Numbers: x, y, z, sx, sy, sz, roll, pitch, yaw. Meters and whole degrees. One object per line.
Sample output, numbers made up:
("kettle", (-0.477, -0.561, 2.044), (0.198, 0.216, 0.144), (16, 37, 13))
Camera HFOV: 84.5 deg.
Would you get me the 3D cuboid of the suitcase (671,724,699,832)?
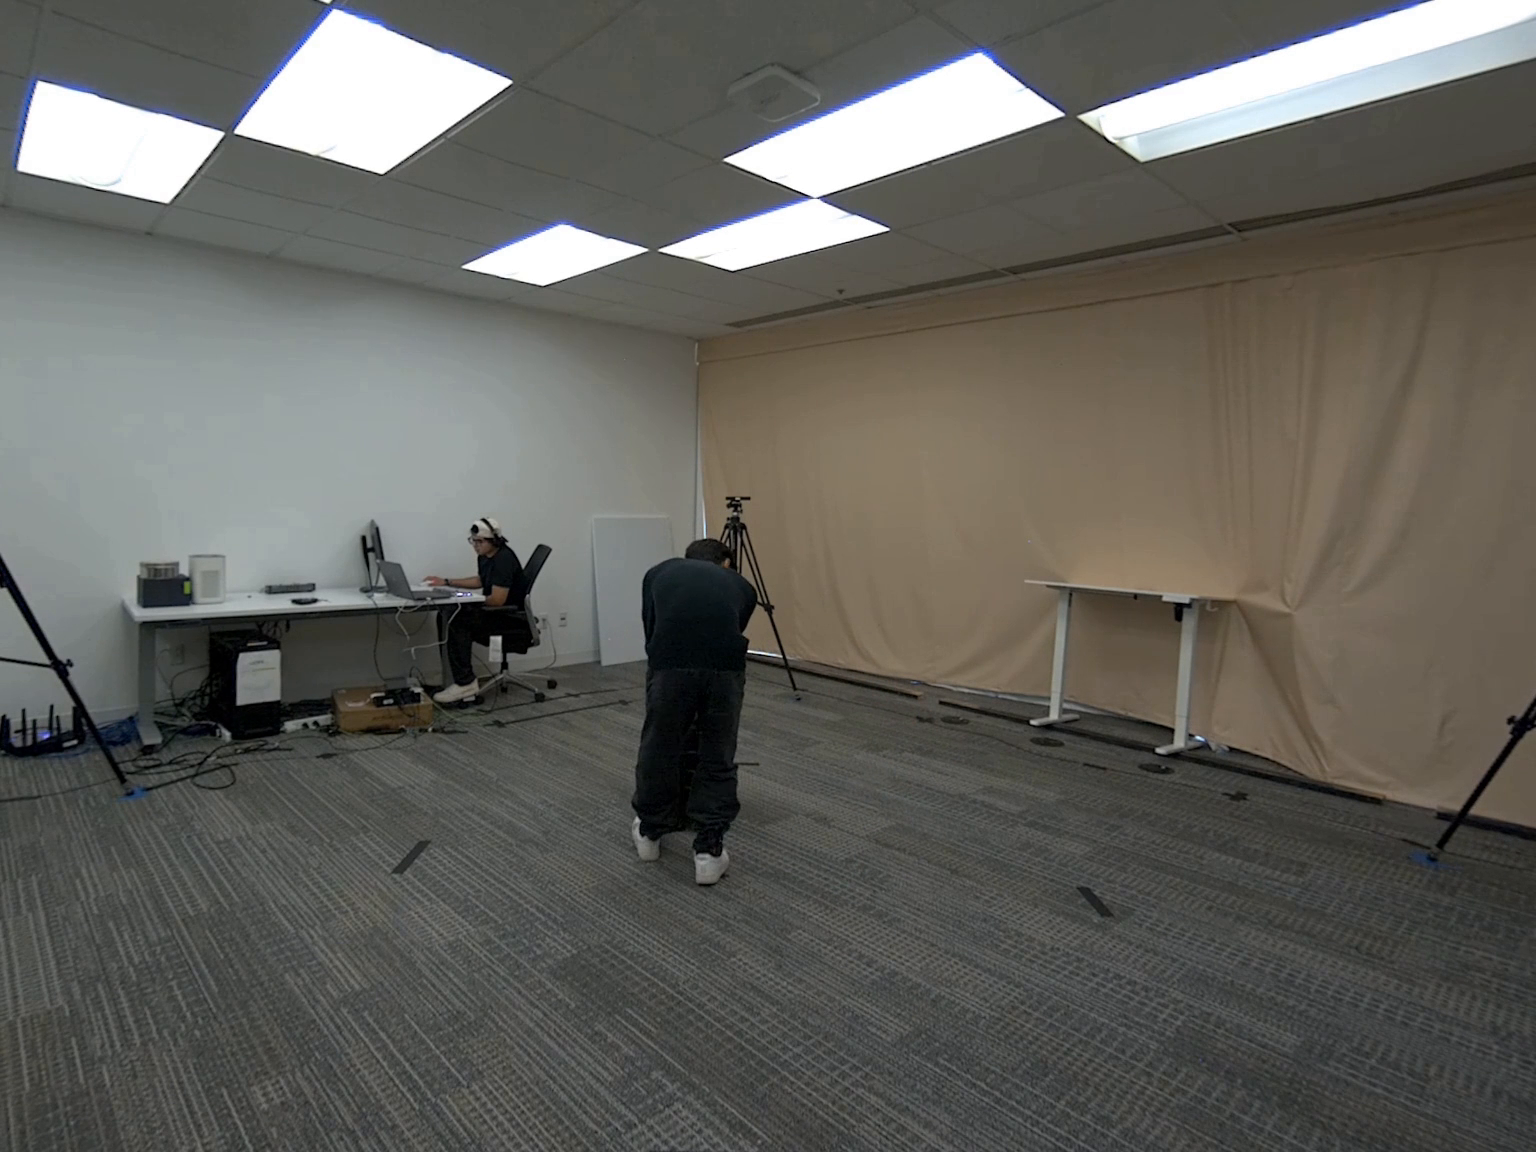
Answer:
("suitcase", (-0.367, 0.779, 3.662), (0.251, 0.548, 0.372), (6, 5, 12))
